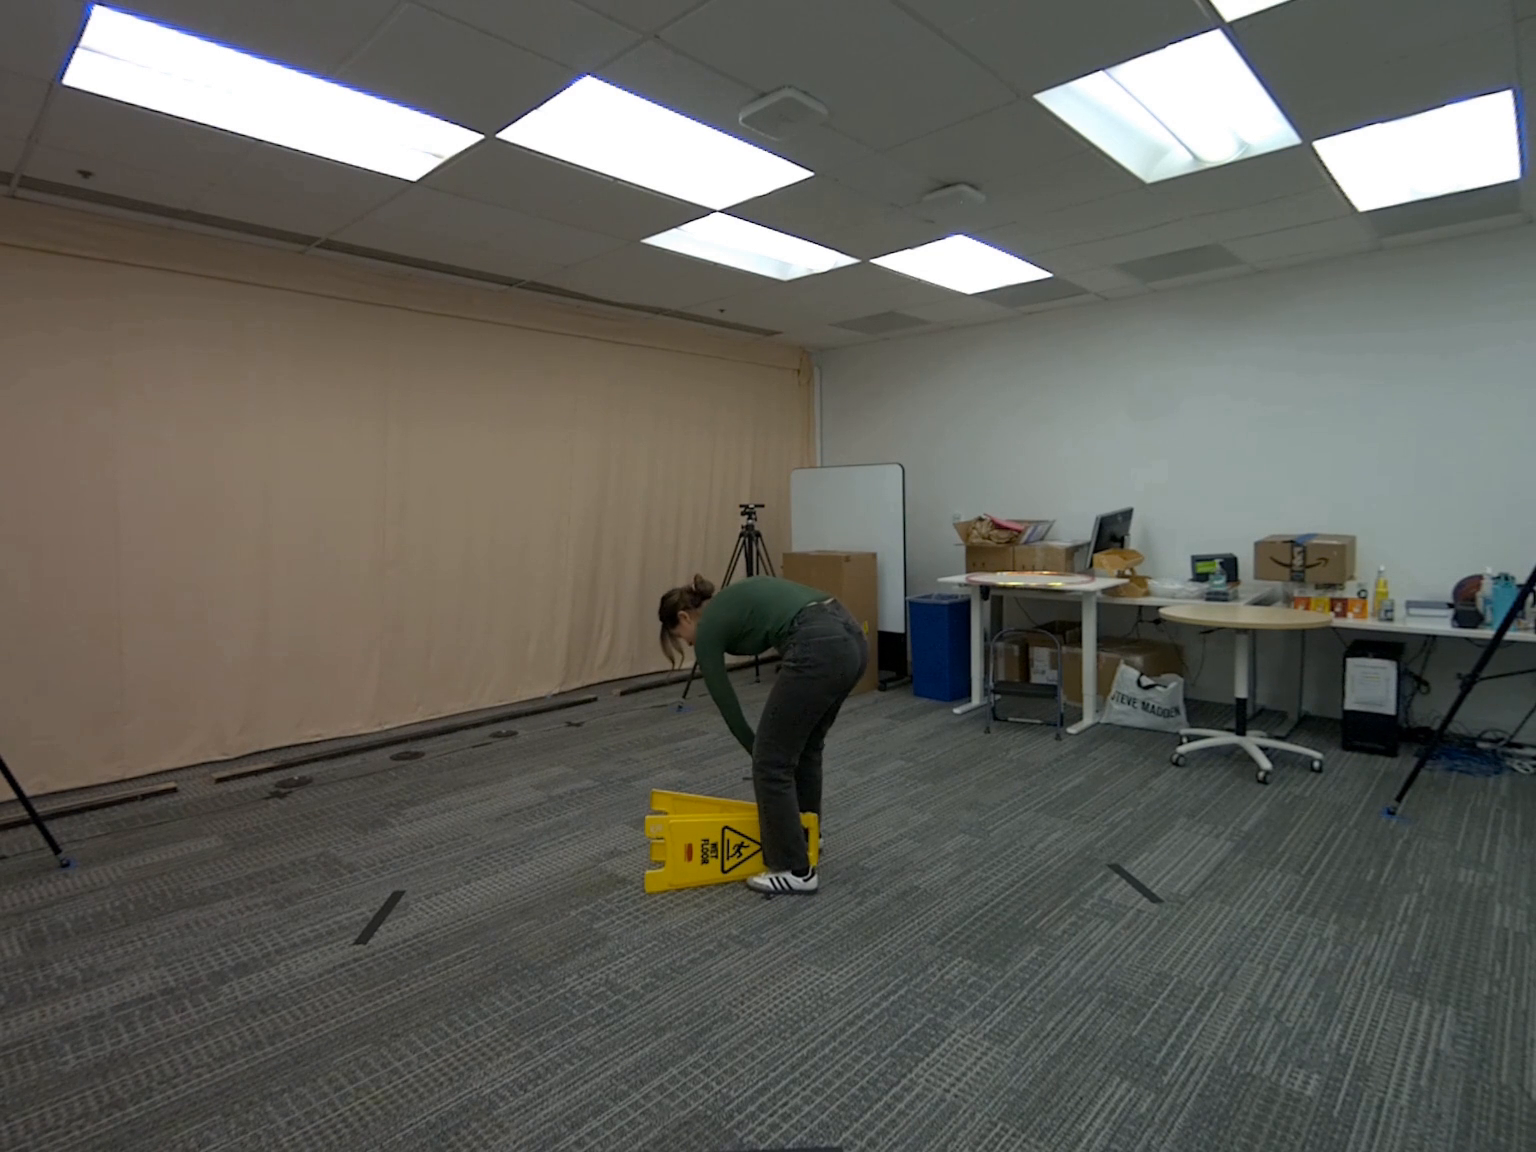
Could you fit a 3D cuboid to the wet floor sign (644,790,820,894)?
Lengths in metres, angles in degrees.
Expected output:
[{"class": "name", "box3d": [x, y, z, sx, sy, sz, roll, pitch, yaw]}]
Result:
[{"class": "wet floor sign", "box3d": [-0.132, 0.993, 3.183, 0.645, 0.282, 0.290, 1, 3, -1]}]
